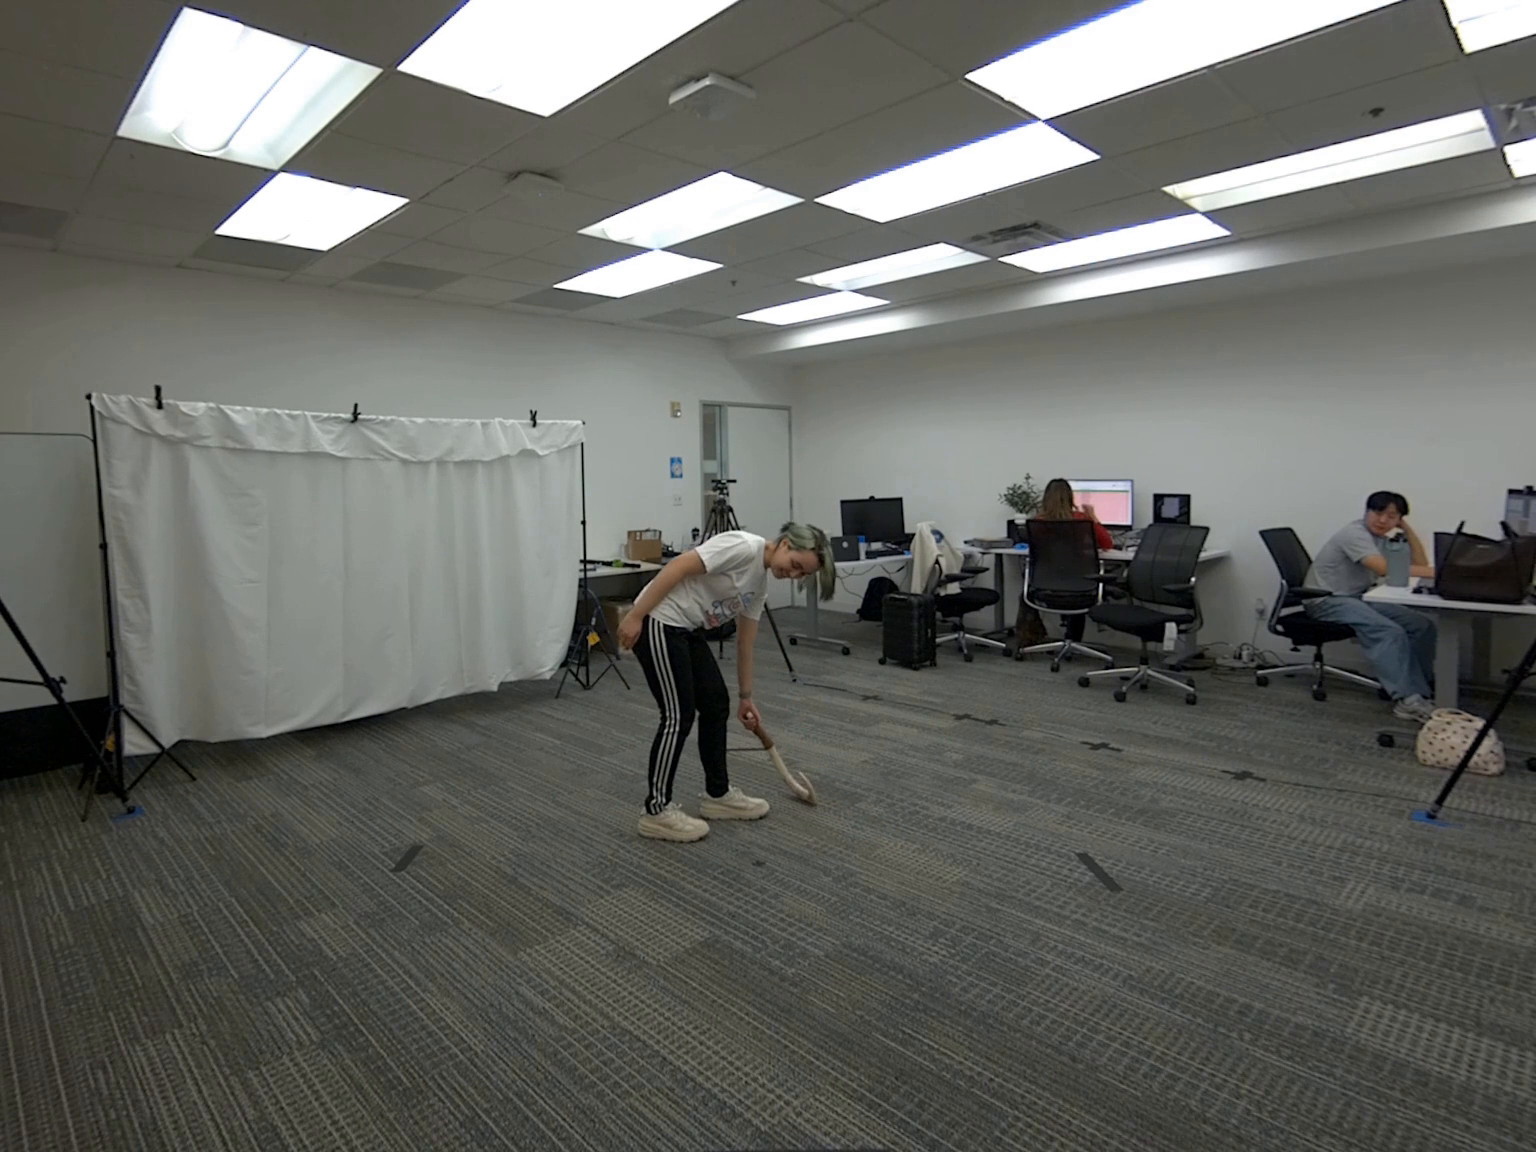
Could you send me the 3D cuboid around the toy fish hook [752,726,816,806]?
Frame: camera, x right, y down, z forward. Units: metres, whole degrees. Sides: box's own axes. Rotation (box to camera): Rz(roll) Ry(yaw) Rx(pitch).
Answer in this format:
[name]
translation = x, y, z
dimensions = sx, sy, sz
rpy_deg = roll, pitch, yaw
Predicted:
[toy fish hook]
translation = 0.058, 0.770, 3.632
dimensions = 0.048, 0.496, 0.230
rpy_deg = -41, 20, -27
